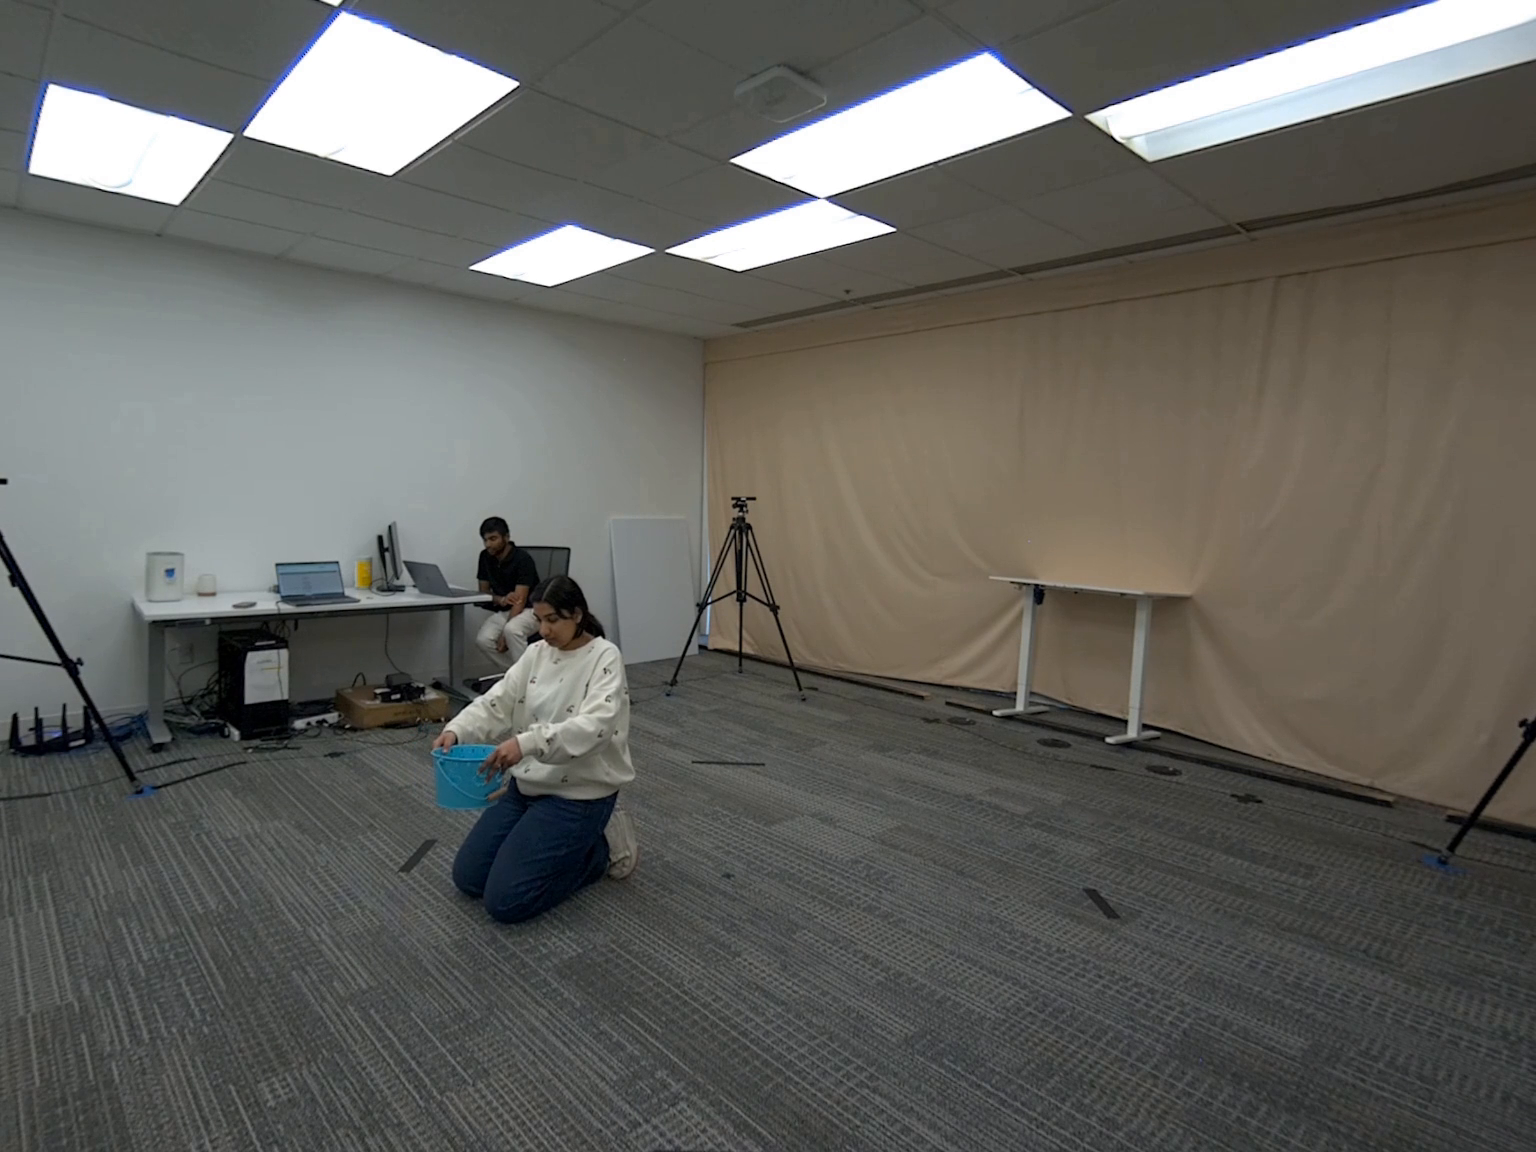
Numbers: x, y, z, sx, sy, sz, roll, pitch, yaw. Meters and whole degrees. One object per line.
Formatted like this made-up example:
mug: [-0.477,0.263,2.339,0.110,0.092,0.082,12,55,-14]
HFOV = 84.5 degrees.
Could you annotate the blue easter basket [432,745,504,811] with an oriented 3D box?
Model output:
blue easter basket: [-0.933,0.617,2.593,0.243,0.156,0.243,1,-3,-1]
